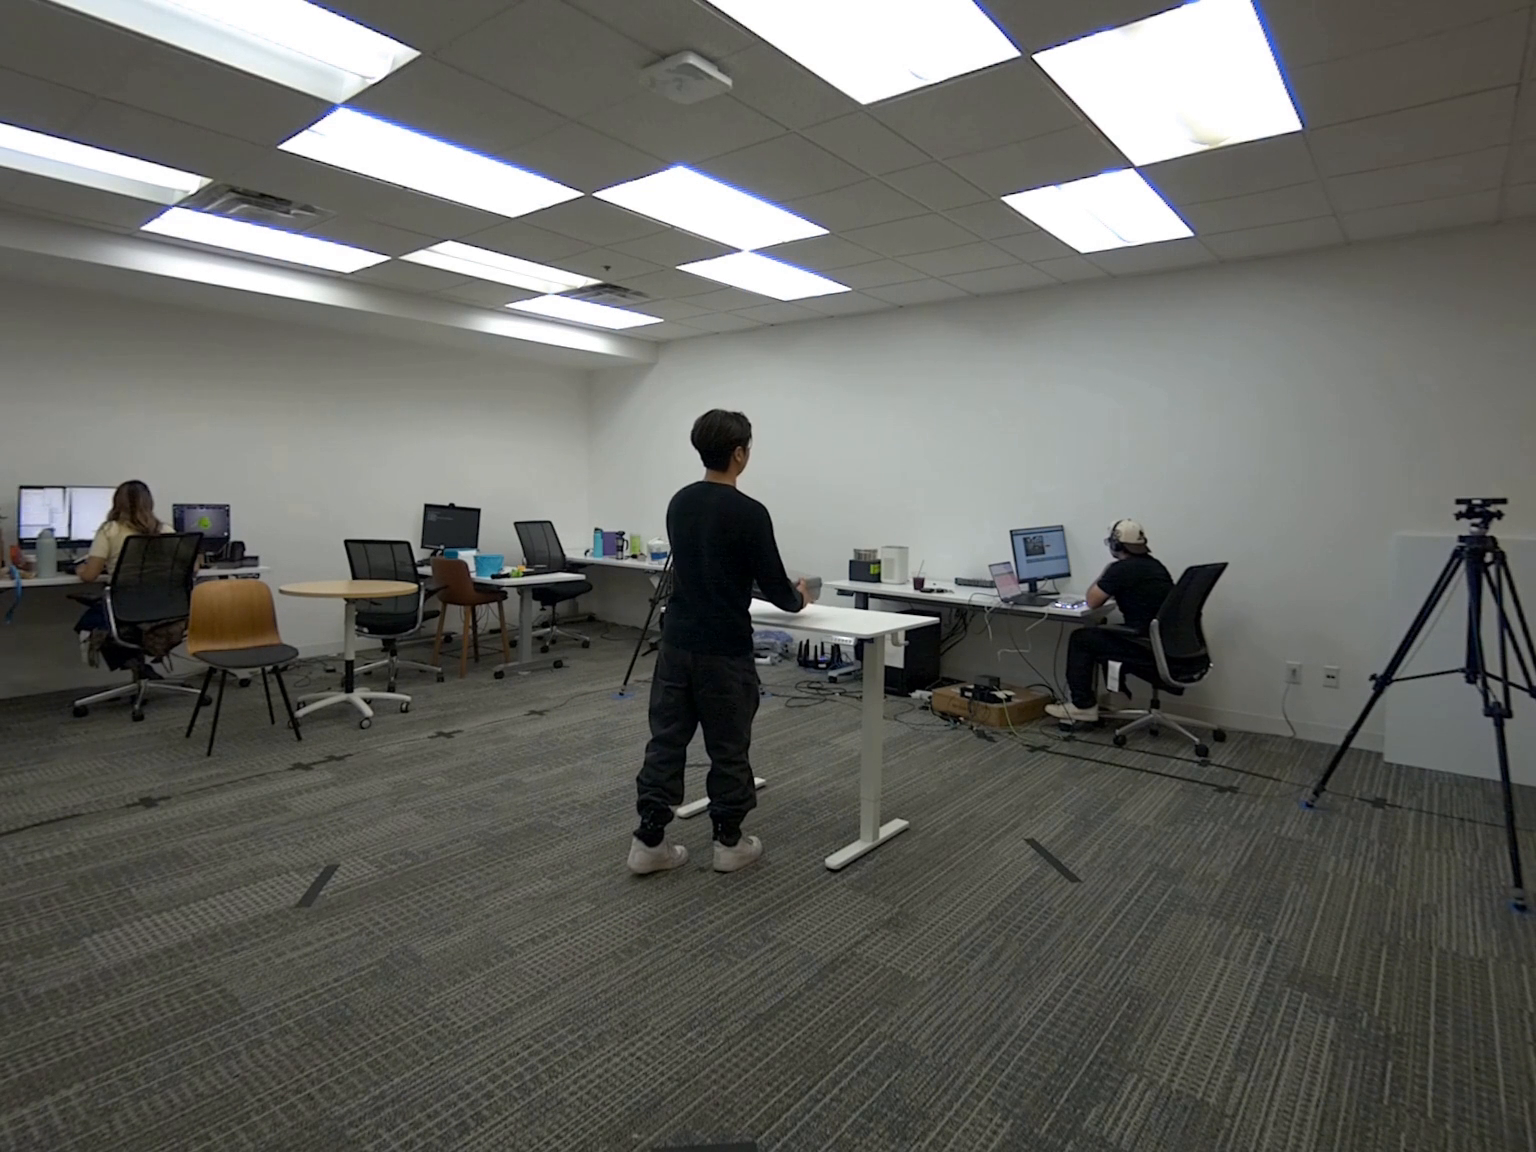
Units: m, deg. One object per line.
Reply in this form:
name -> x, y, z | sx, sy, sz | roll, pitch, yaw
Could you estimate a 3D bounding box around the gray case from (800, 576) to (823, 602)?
gray case -> 0.040, 0.033, 3.434 | 0.266, 0.103, 0.253 | 13, 11, 38
